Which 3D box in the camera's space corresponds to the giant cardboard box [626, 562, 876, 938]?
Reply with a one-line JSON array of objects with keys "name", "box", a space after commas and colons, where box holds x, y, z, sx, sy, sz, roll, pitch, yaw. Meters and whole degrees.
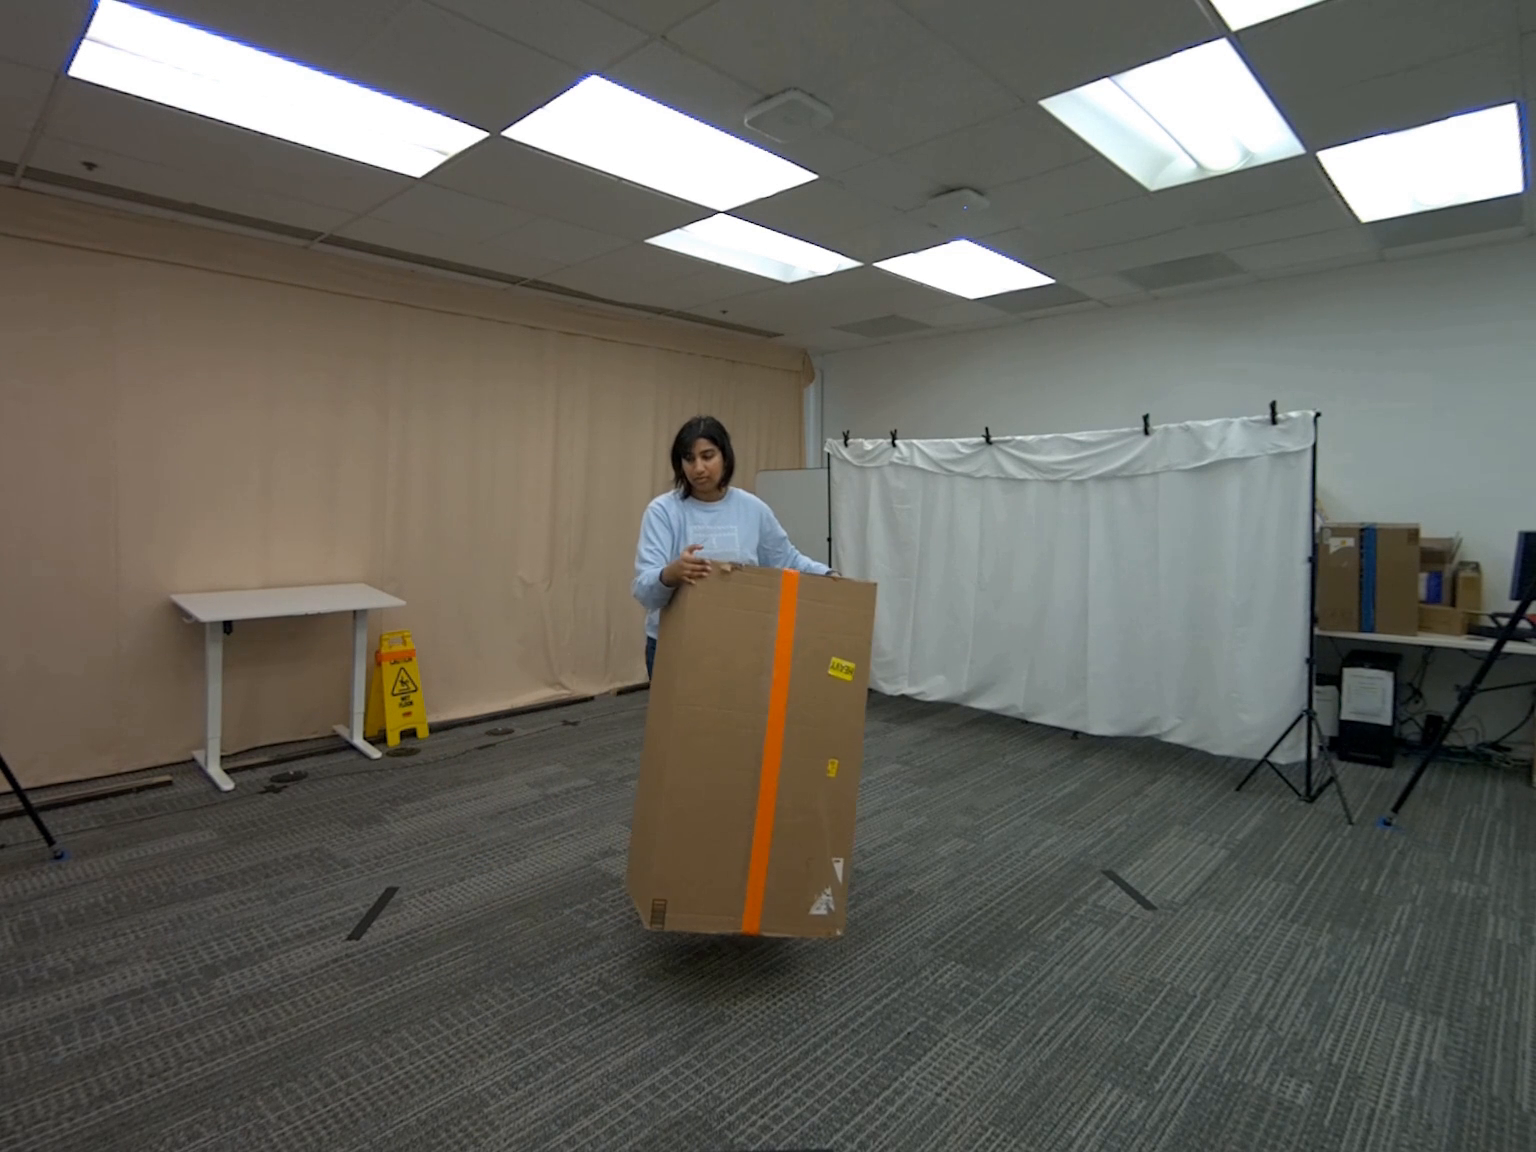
[{"name": "giant cardboard box", "box": [-0.051, 0.501, 2.578, 0.575, 1.030, 0.452, 9, -7, -14]}]
